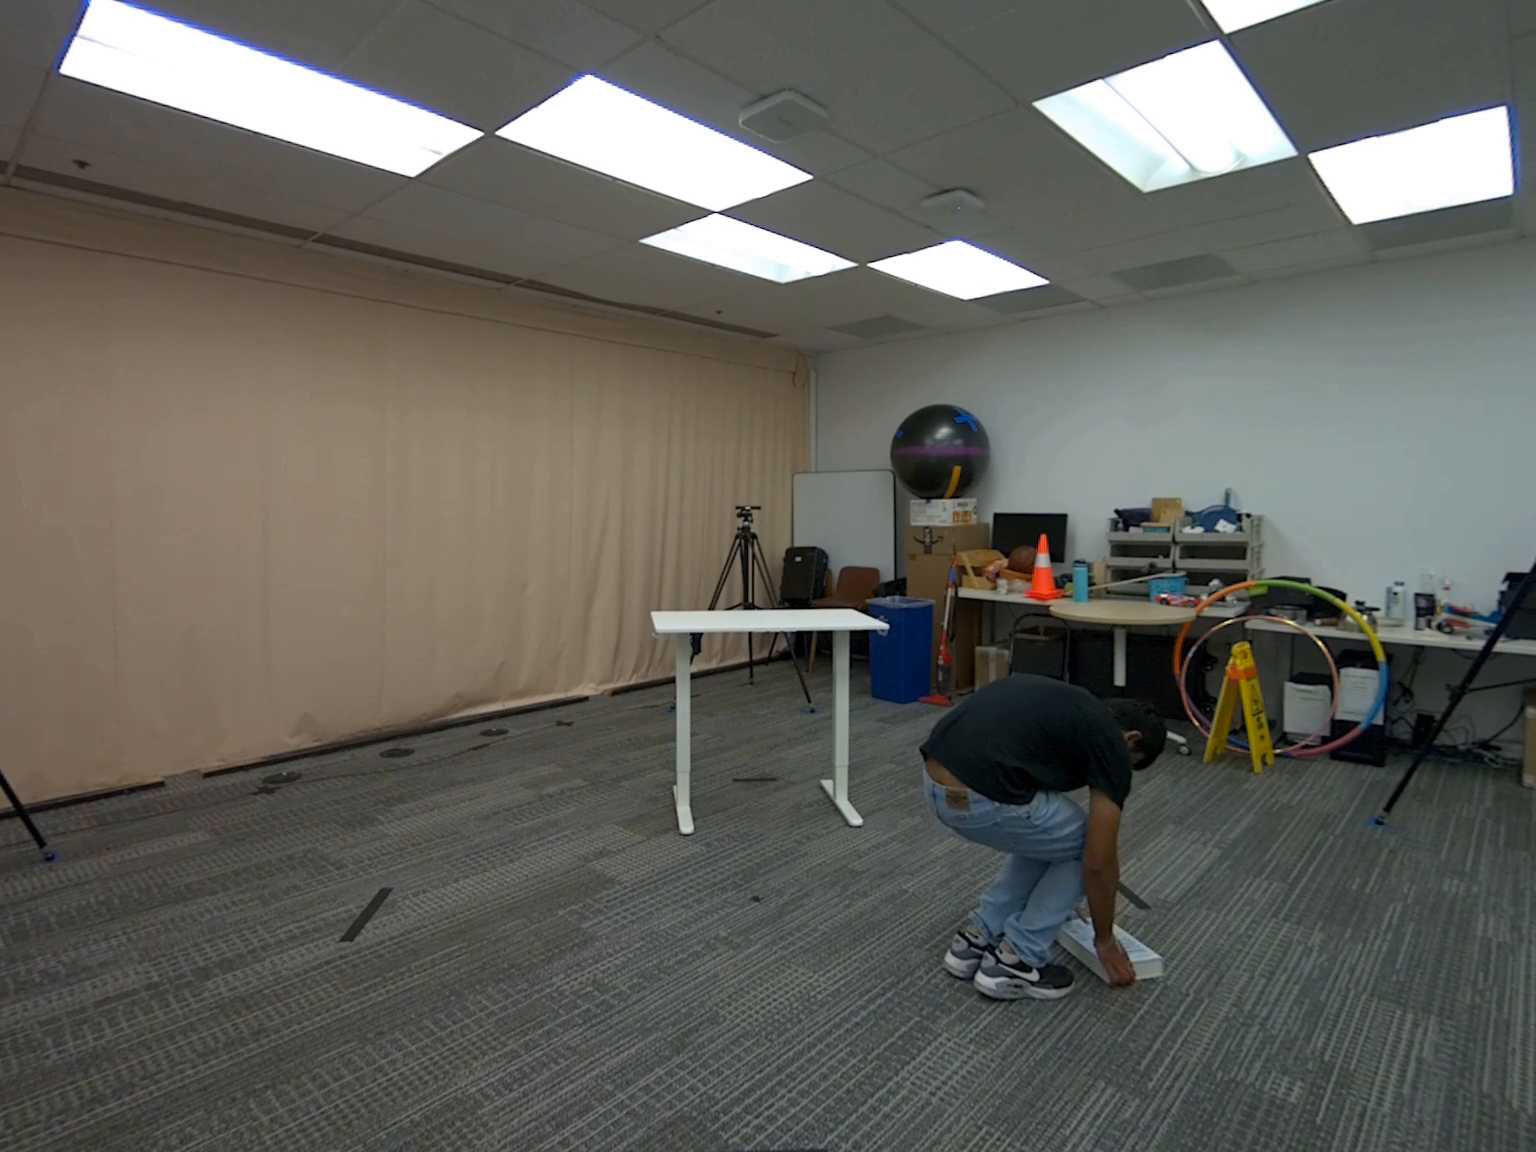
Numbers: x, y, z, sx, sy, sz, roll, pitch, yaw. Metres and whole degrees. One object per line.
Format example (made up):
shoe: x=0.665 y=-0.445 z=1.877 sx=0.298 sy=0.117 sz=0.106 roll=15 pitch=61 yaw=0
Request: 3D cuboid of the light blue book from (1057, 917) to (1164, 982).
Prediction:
light blue book: x=1.055 y=1.152 z=2.573 sx=0.188 sy=0.059 sz=0.265 roll=-1 pitch=4 yaw=-15
